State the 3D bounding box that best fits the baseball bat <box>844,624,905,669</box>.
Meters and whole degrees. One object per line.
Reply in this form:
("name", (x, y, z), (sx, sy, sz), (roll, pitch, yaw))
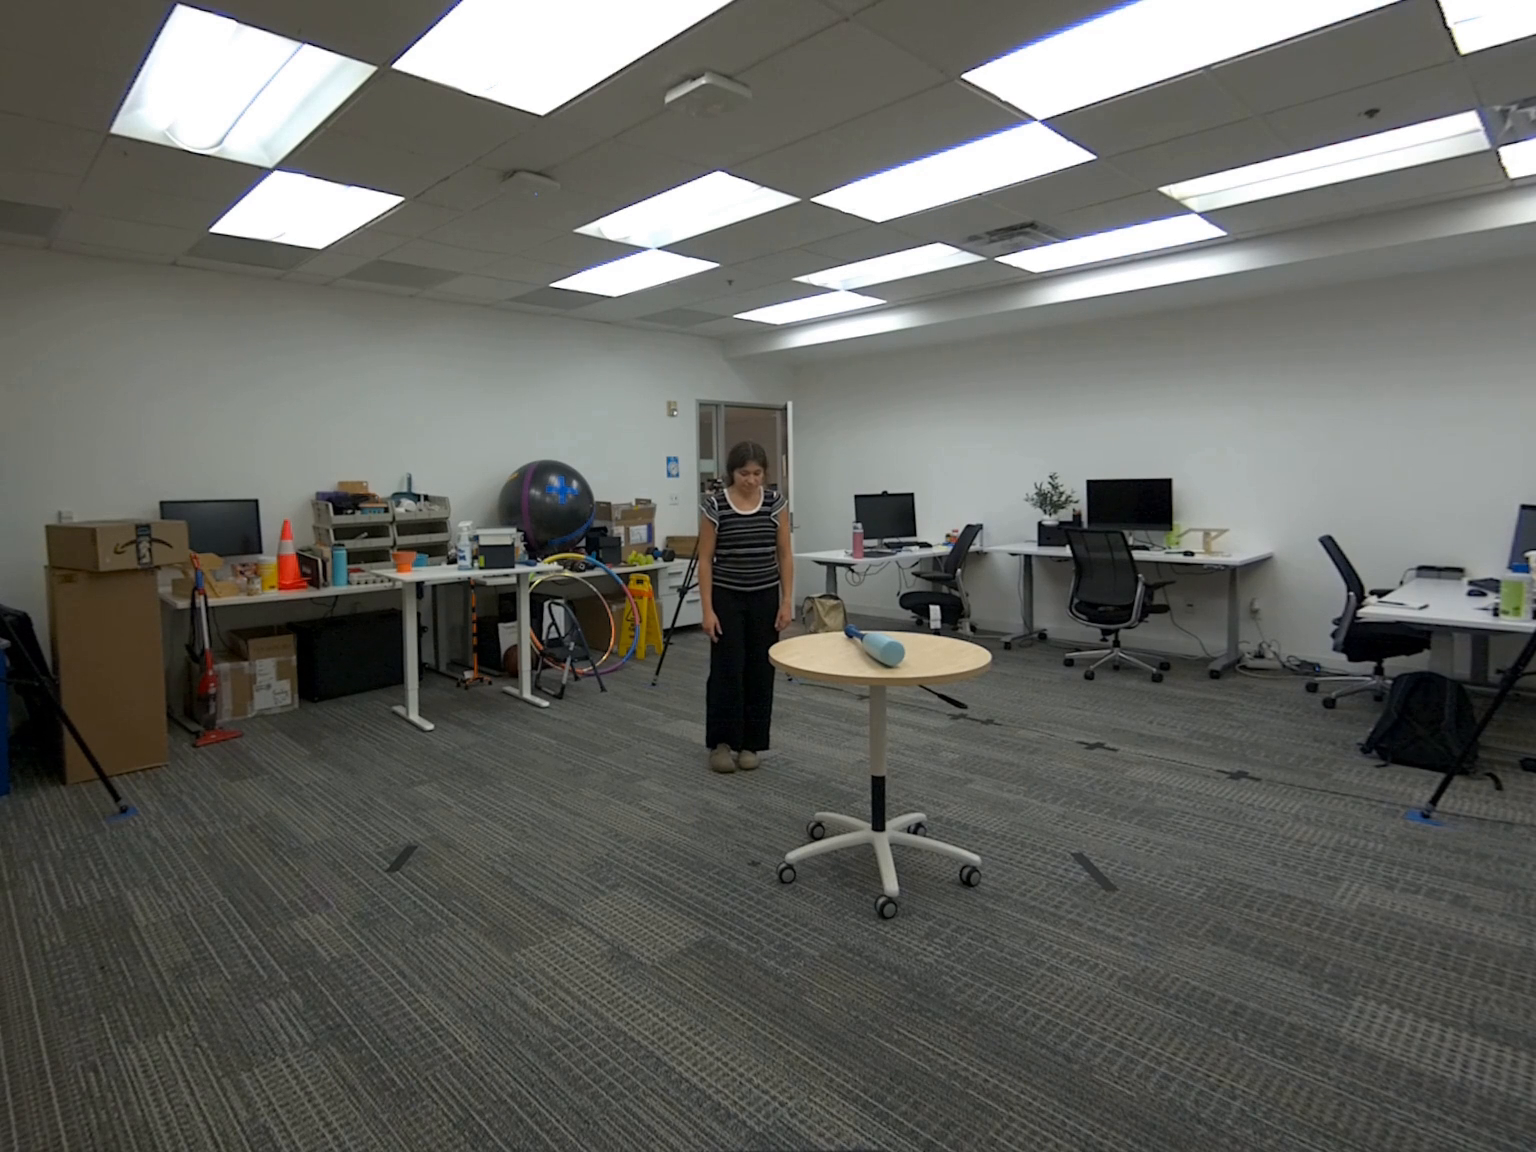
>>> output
("baseball bat", (0.366, 0.231, 2.991), (0.088, 0.089, 0.548), (-2, 4, -9))
